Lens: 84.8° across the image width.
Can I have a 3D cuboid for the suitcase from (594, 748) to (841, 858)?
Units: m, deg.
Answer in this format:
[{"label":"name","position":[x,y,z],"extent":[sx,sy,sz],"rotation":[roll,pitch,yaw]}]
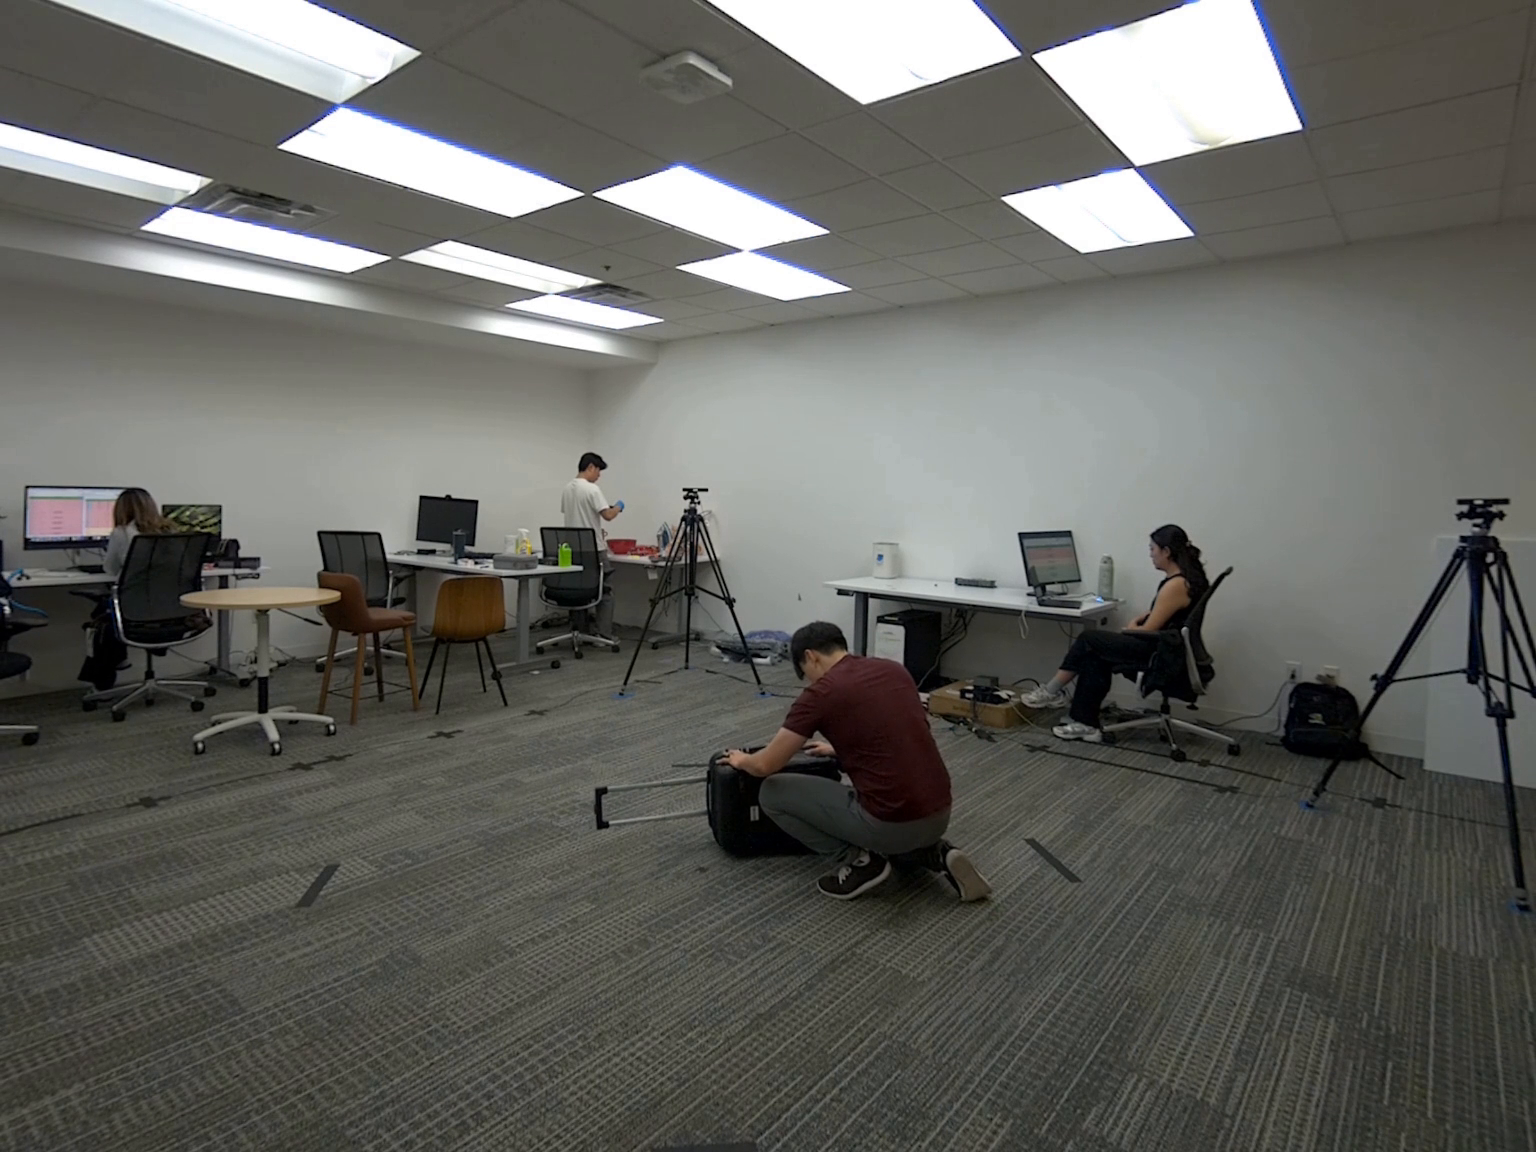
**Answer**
[{"label":"suitcase","position":[-0.175,0.864,3.288],"extent":[0.963,0.383,0.261],"rotation":[-2,2,-15]}]
